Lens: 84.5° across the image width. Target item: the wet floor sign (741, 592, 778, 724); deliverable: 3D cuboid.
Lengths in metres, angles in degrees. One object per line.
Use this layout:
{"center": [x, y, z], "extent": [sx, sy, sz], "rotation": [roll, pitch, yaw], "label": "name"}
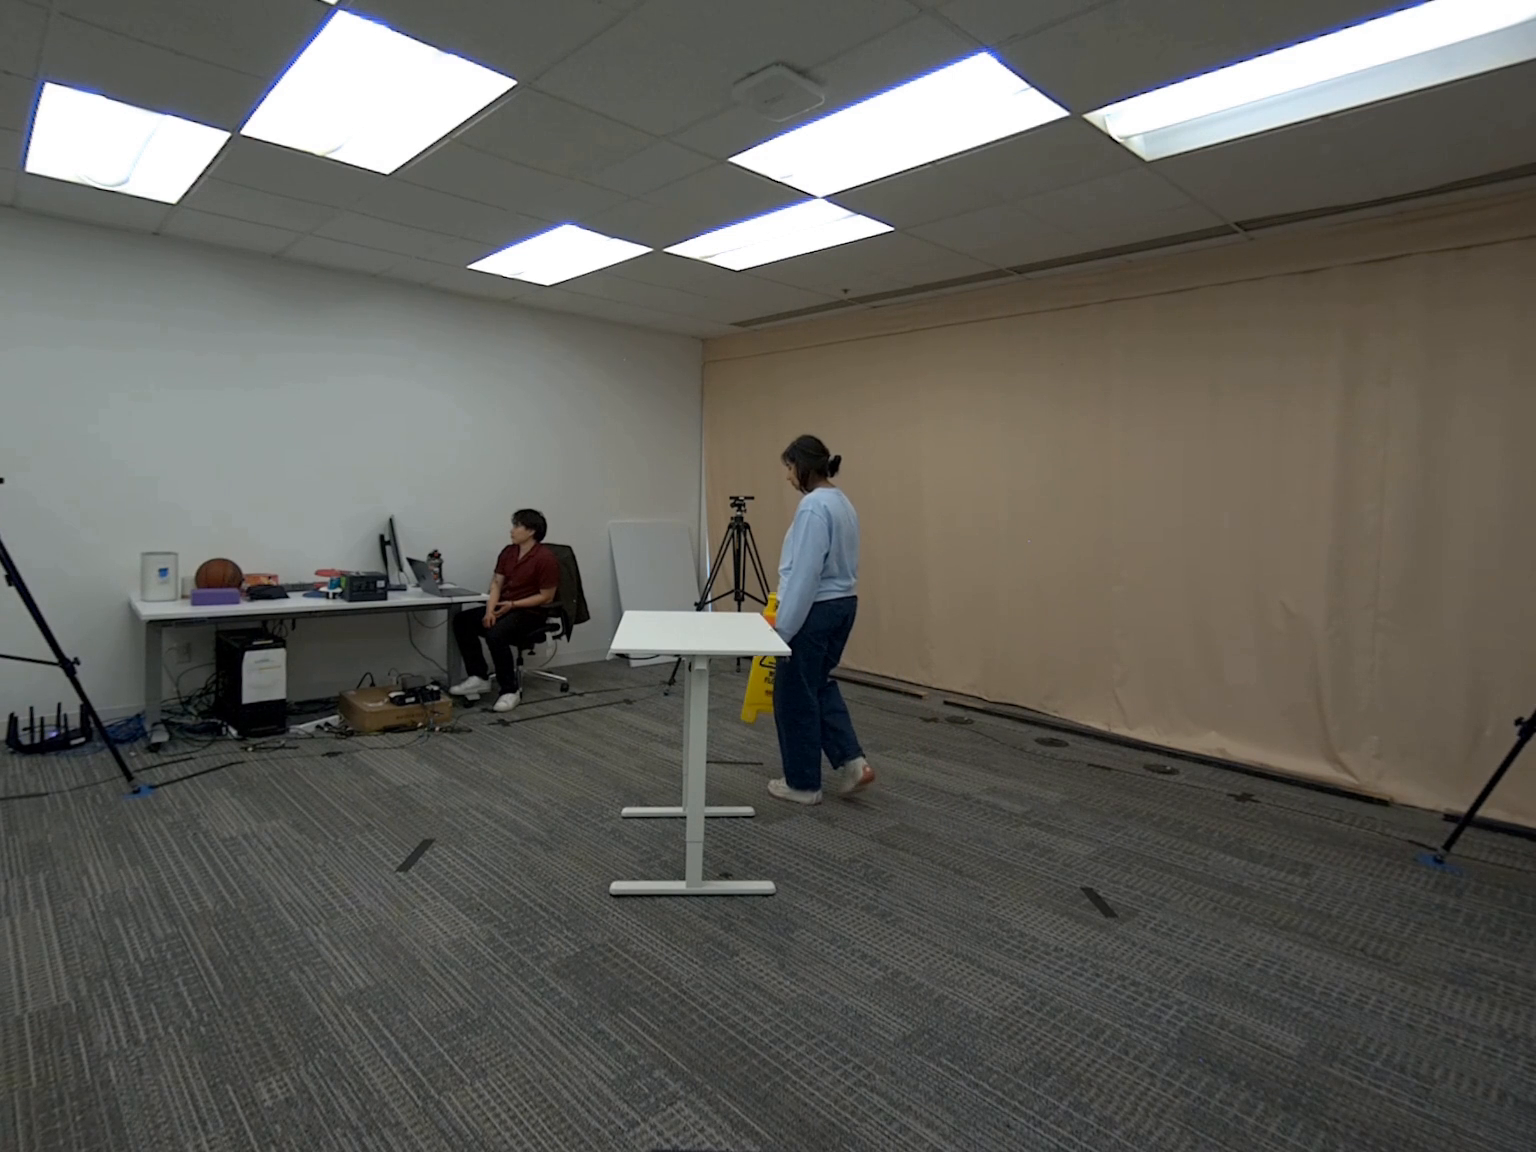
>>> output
{"center": [0.058, 0.416, 4.264], "extent": [0.287, 0.644, 0.286], "rotation": [9, 4, 18], "label": "wet floor sign"}
